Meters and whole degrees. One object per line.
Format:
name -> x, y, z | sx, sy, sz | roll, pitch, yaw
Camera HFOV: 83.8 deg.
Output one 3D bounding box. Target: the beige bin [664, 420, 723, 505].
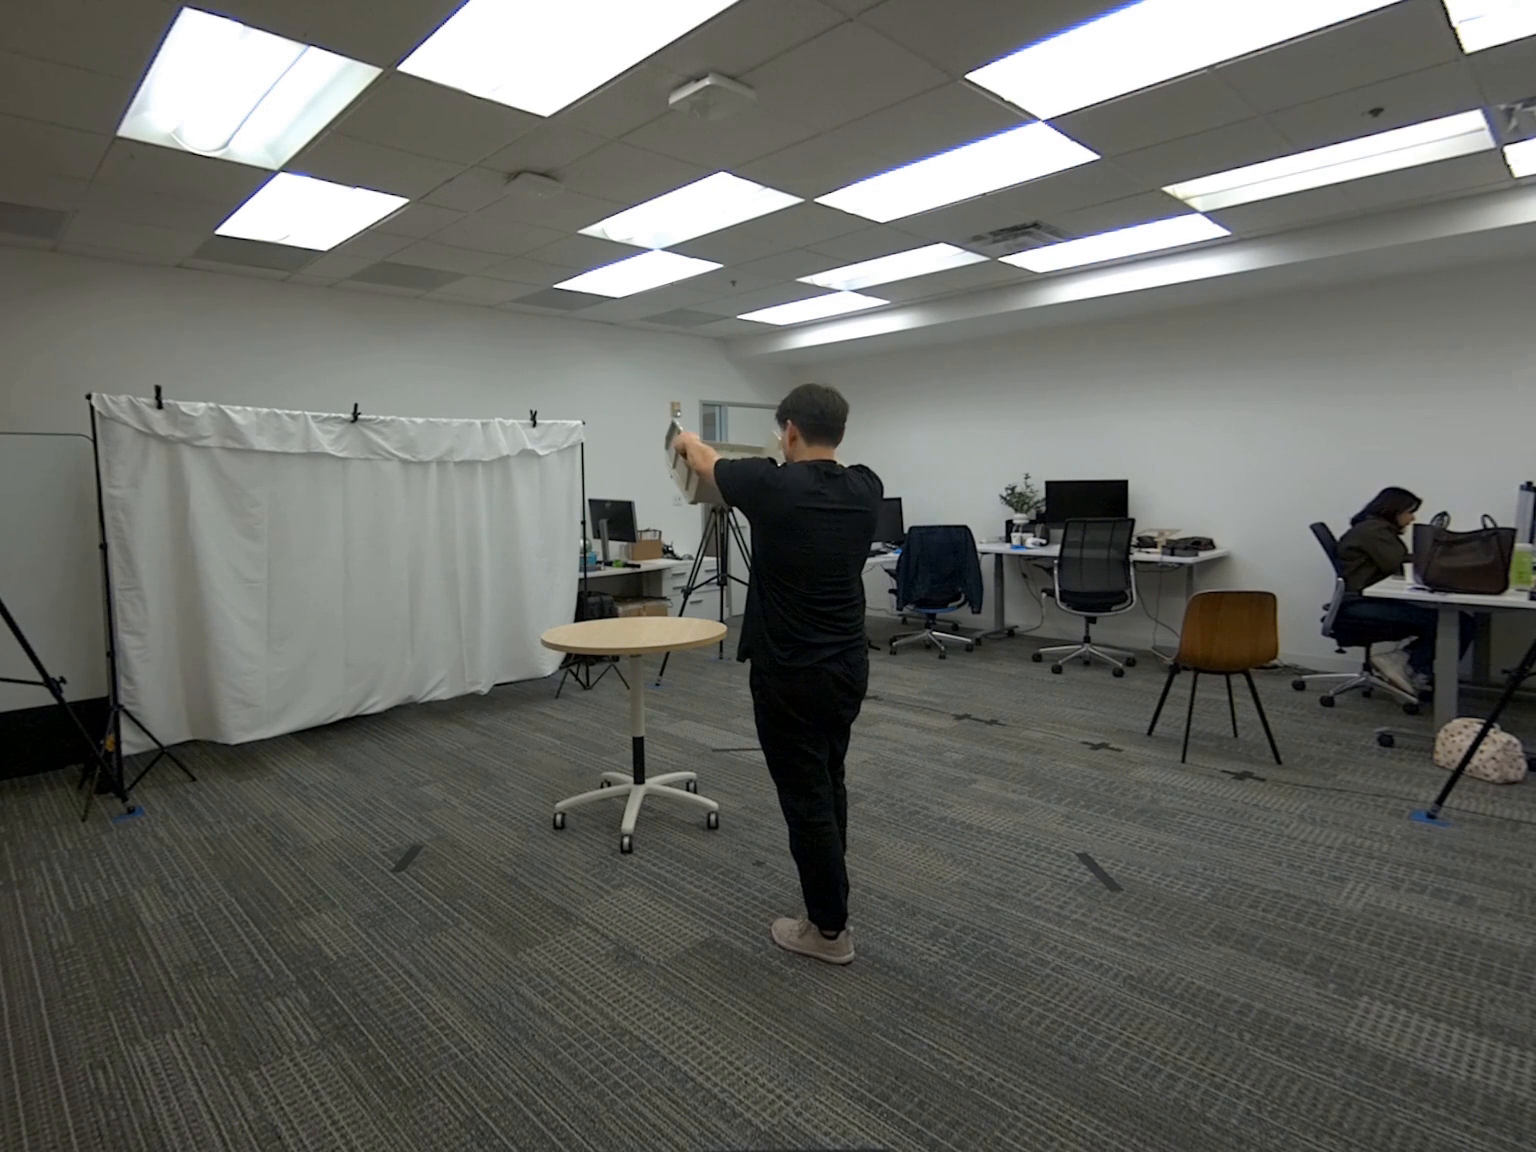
beige bin -> -0.119, -0.404, 3.072 | 0.413, 0.186, 0.391 | 2, 30, -25
